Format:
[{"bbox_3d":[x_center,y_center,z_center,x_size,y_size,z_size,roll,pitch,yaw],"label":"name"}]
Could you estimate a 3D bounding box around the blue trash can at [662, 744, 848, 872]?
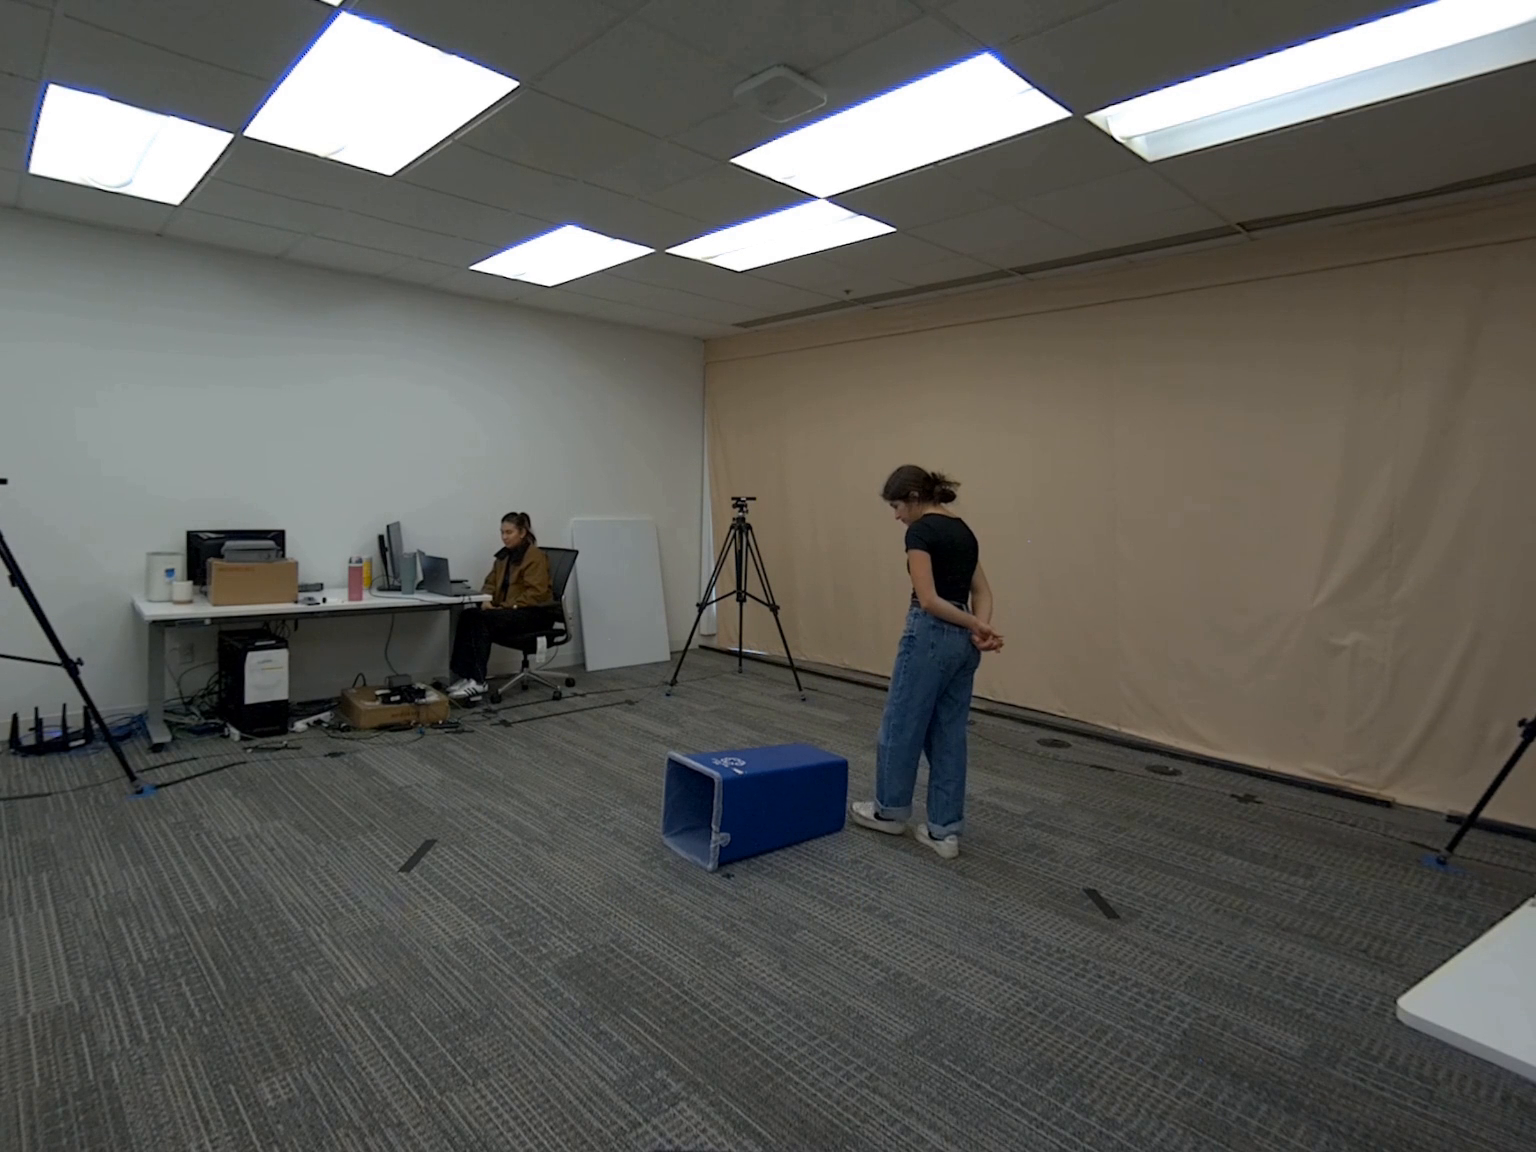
[{"bbox_3d":[-0.046,0.913,3.465,0.696,0.378,0.383,2,3,-39],"label":"blue trash can"}]
